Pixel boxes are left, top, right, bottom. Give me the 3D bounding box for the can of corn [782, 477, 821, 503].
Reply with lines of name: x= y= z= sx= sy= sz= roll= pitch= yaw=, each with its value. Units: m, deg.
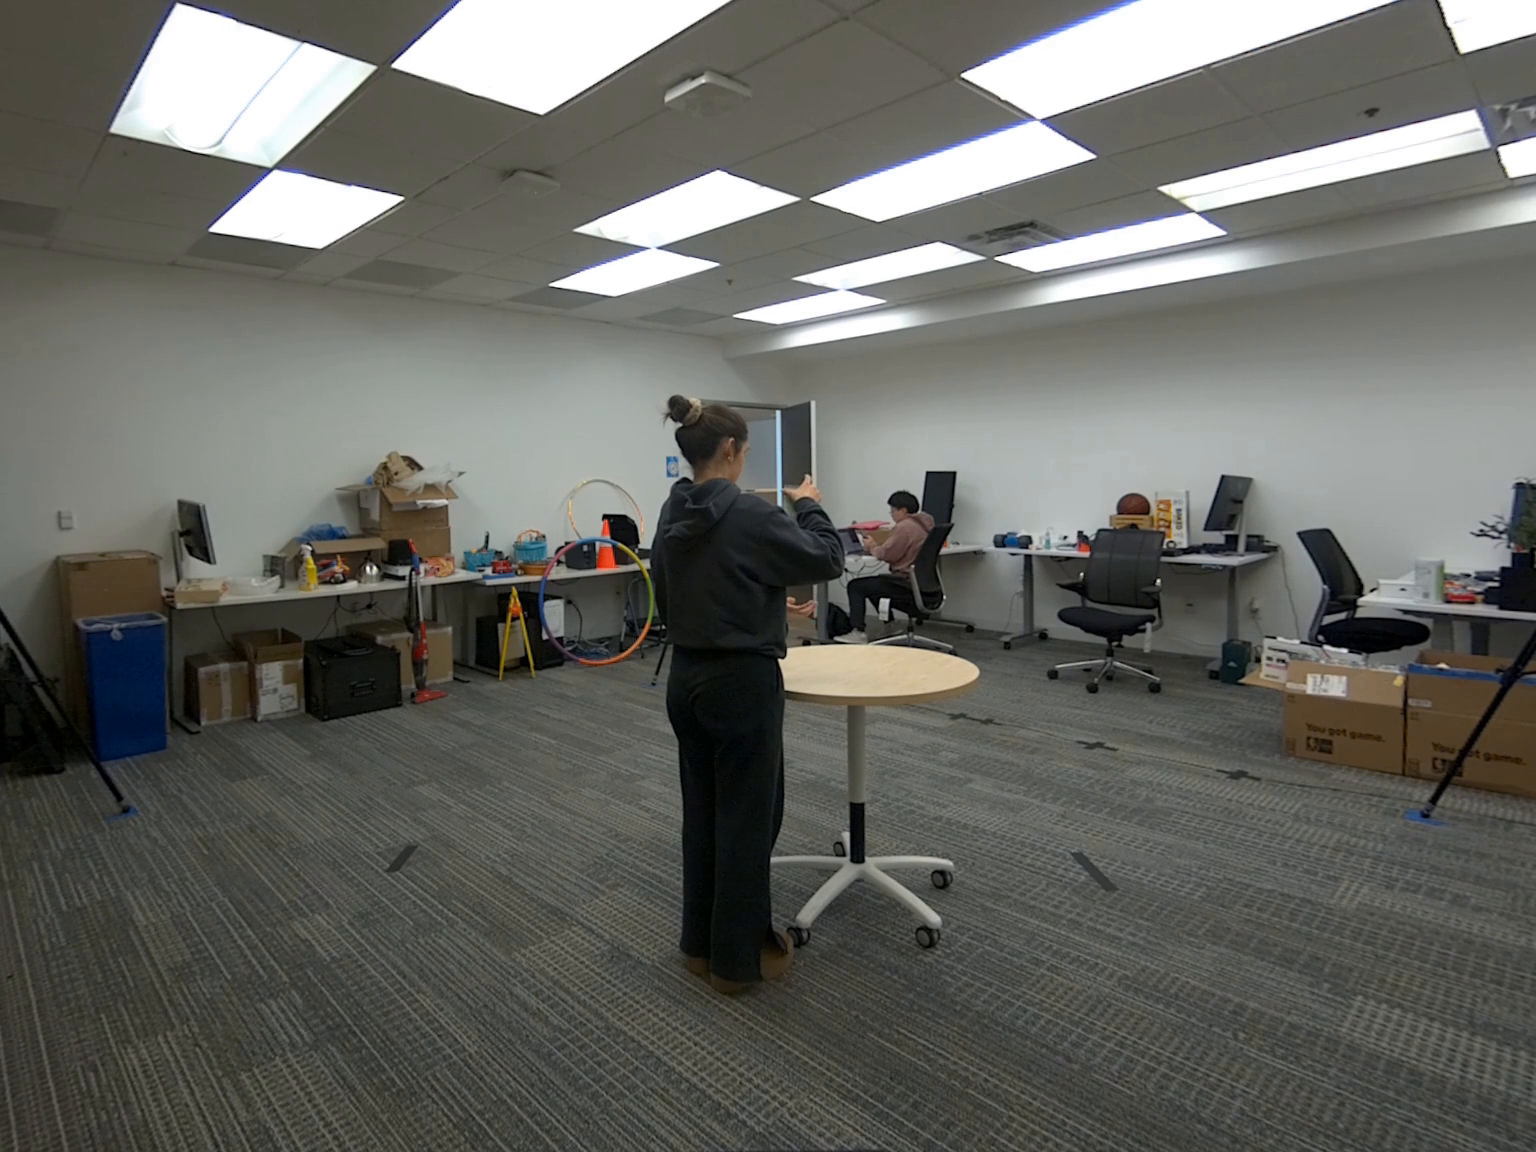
can of corn: x=0.095 y=-0.212 z=2.553 sx=0.074 sy=0.110 sz=0.075 roll=0 pitch=6 yaw=-2
